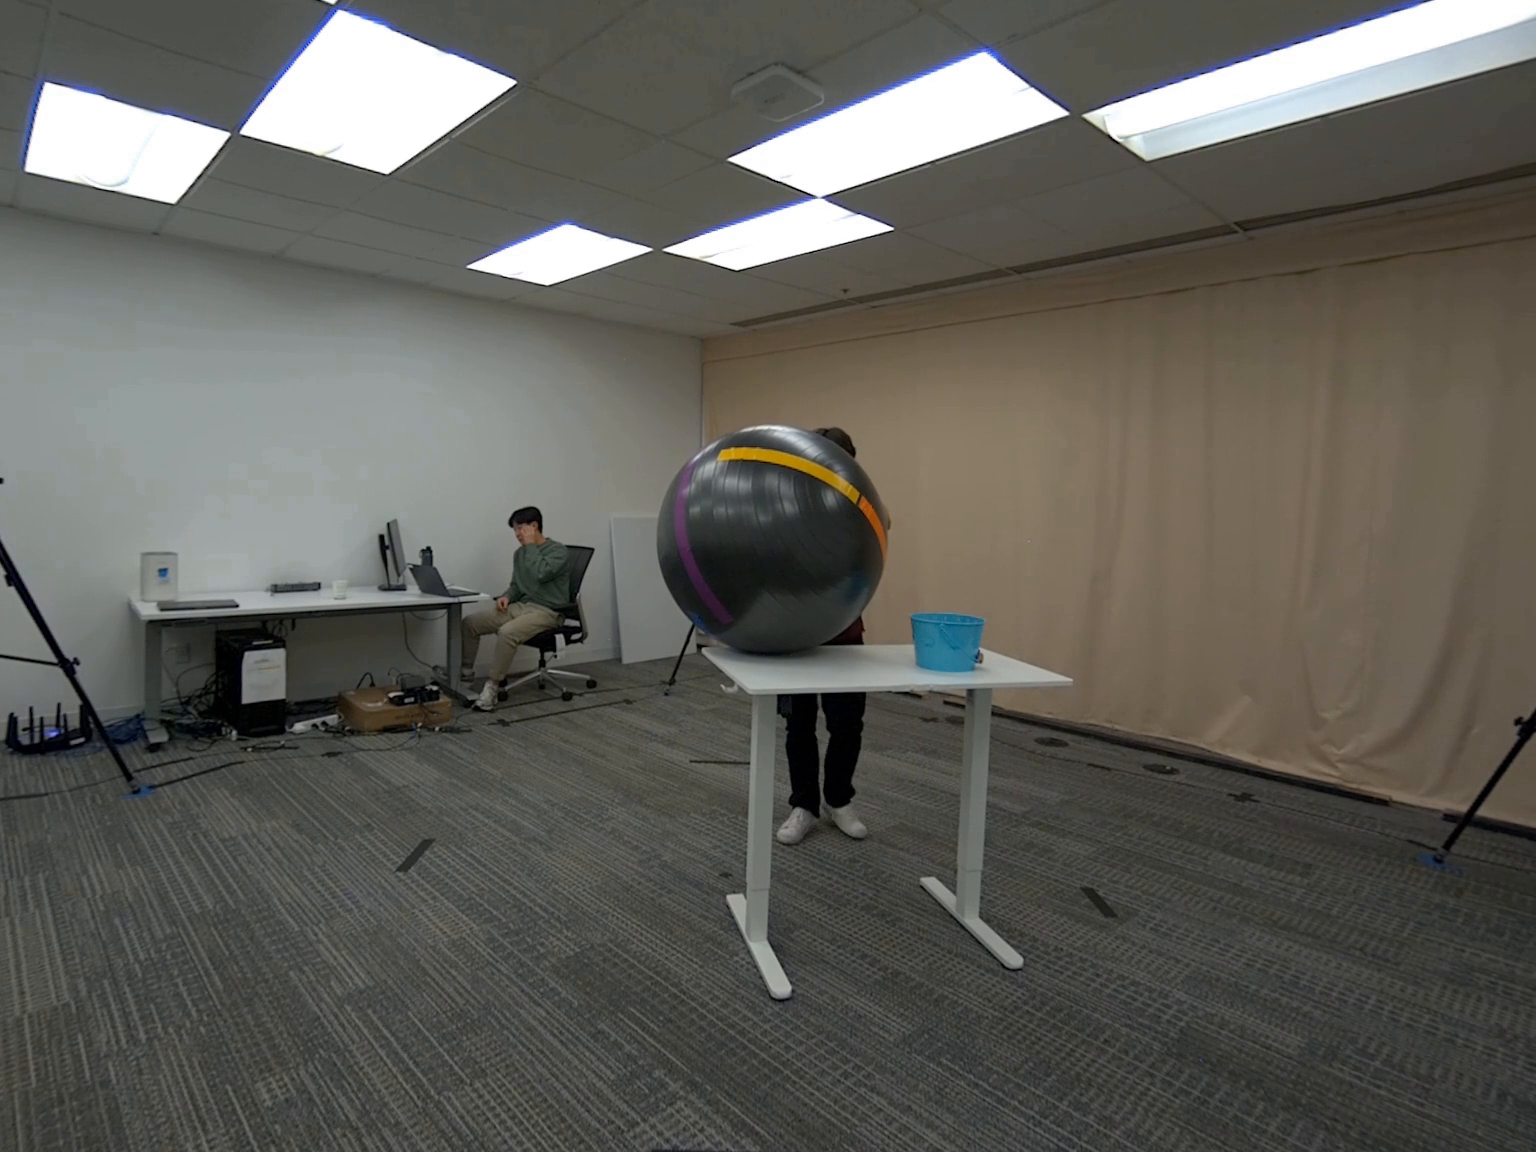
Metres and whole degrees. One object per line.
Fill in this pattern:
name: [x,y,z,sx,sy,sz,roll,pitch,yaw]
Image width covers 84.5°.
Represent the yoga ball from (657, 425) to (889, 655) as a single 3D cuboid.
yoga ball: [0.010,-0.111,2.784,0.757,0.756,0.760,1,4,-1]
